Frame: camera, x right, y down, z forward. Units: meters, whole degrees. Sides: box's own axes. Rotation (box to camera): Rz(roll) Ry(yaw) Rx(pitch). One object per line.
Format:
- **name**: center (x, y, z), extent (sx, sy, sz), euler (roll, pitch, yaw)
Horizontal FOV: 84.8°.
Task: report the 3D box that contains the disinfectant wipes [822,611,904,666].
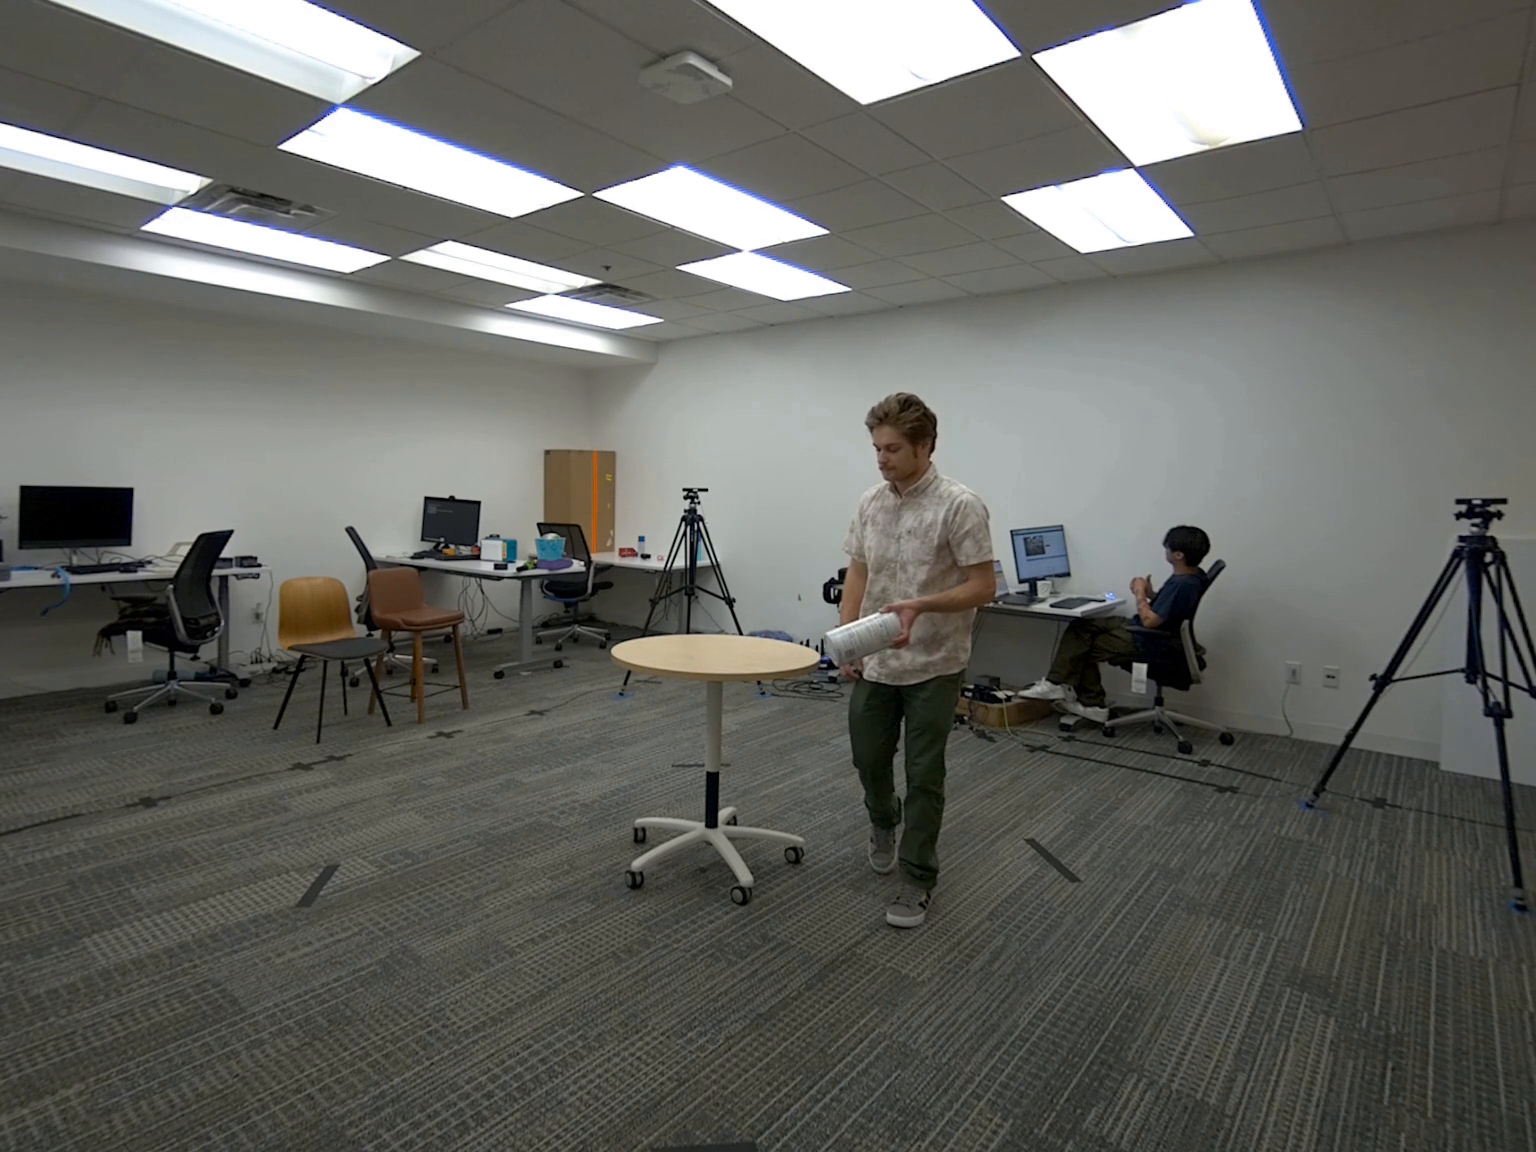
- **disinfectant wipes**: center (0.274, 0.186, 2.549), extent (0.216, 0.117, 0.119), euler (-19, 7, -7)
